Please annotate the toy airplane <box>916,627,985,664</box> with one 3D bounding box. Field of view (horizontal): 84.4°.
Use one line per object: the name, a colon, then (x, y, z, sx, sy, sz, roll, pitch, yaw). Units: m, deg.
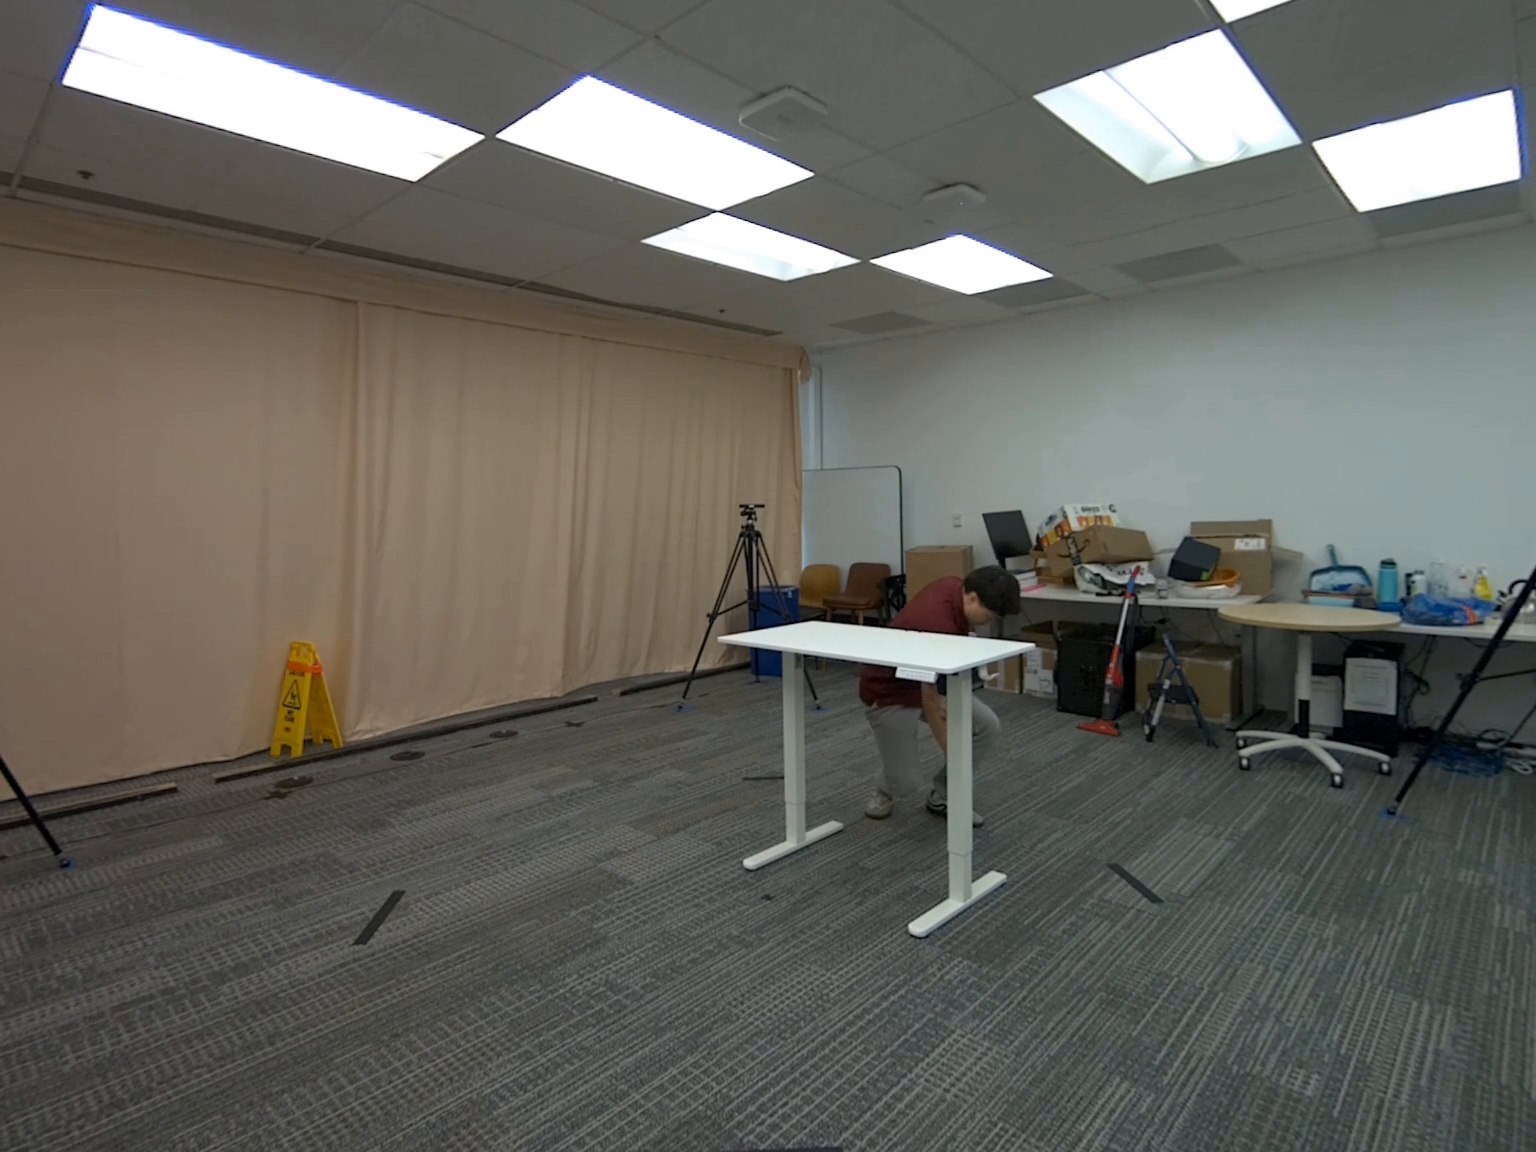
toy airplane: (0.823, 0.241, 3.844, 0.267, 0.250, 0.152, 3, 8, 37)
